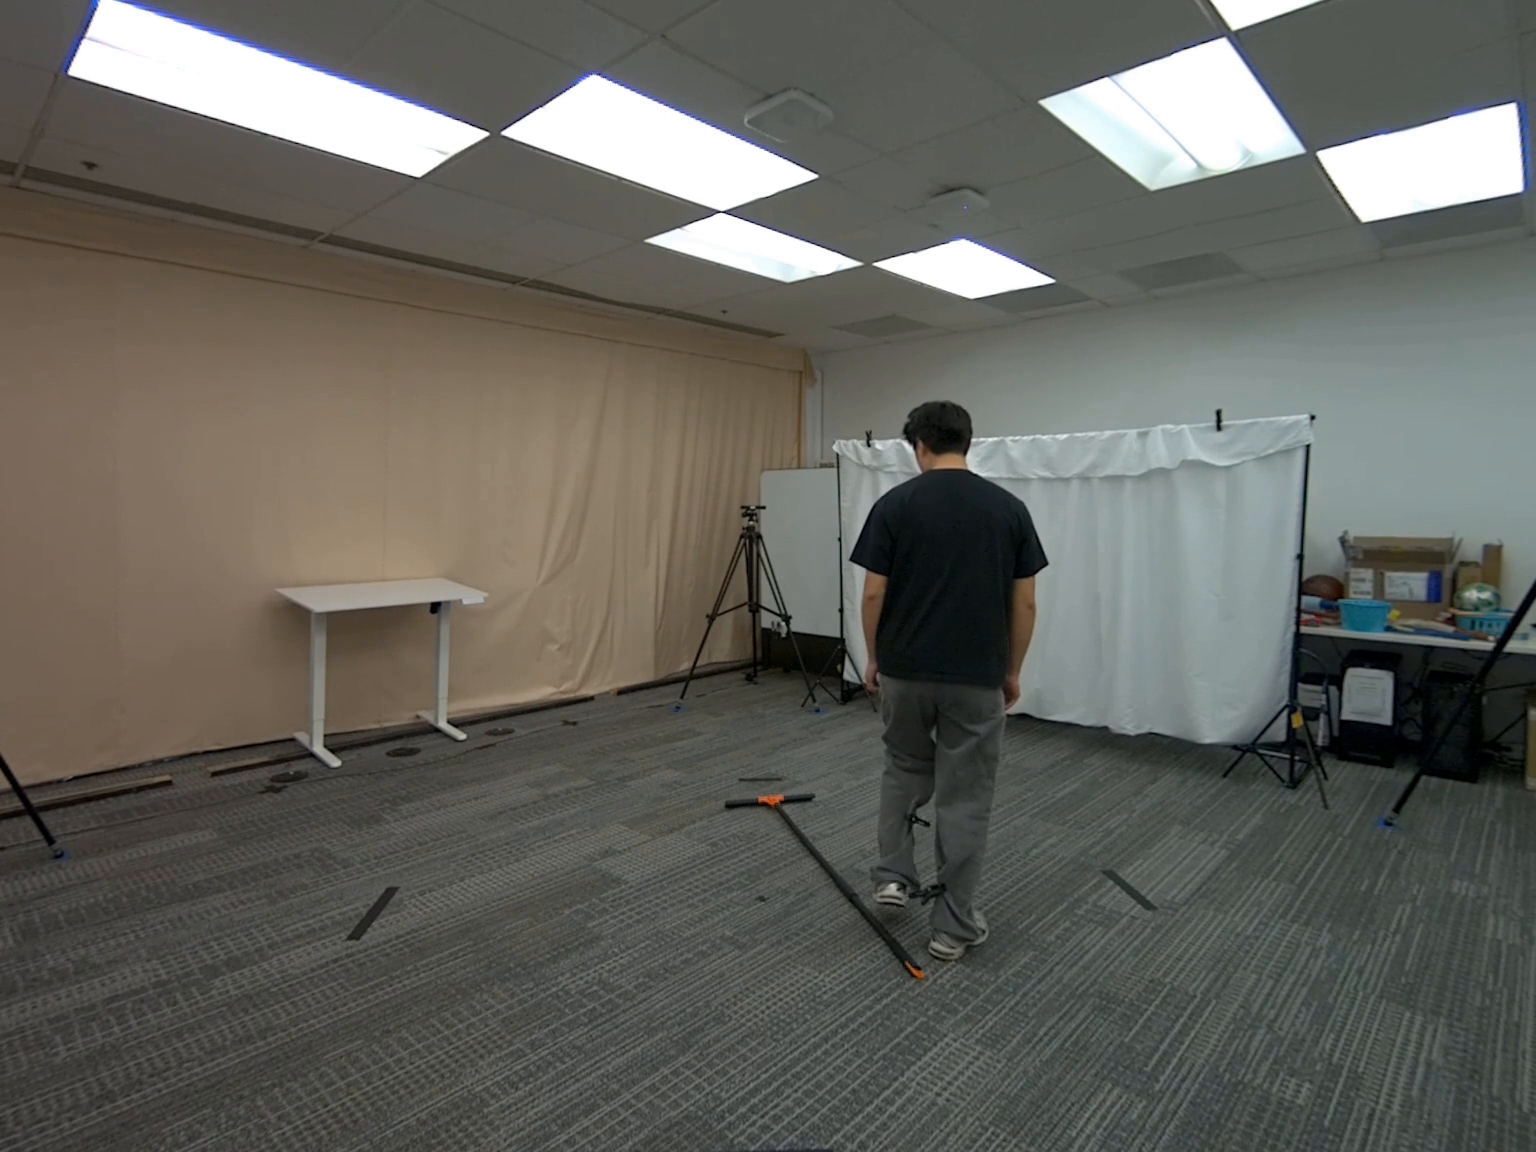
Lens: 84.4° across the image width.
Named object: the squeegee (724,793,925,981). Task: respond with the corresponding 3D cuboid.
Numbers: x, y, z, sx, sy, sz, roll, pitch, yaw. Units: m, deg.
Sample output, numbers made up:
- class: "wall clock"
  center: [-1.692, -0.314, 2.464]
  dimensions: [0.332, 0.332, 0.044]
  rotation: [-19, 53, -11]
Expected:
- class: "squeegee"
  center: [0.233, 1.073, 3.198]
  dimensions: [0.430, 0.053, 1.567]
  rotation: [-1, 4, -18]
